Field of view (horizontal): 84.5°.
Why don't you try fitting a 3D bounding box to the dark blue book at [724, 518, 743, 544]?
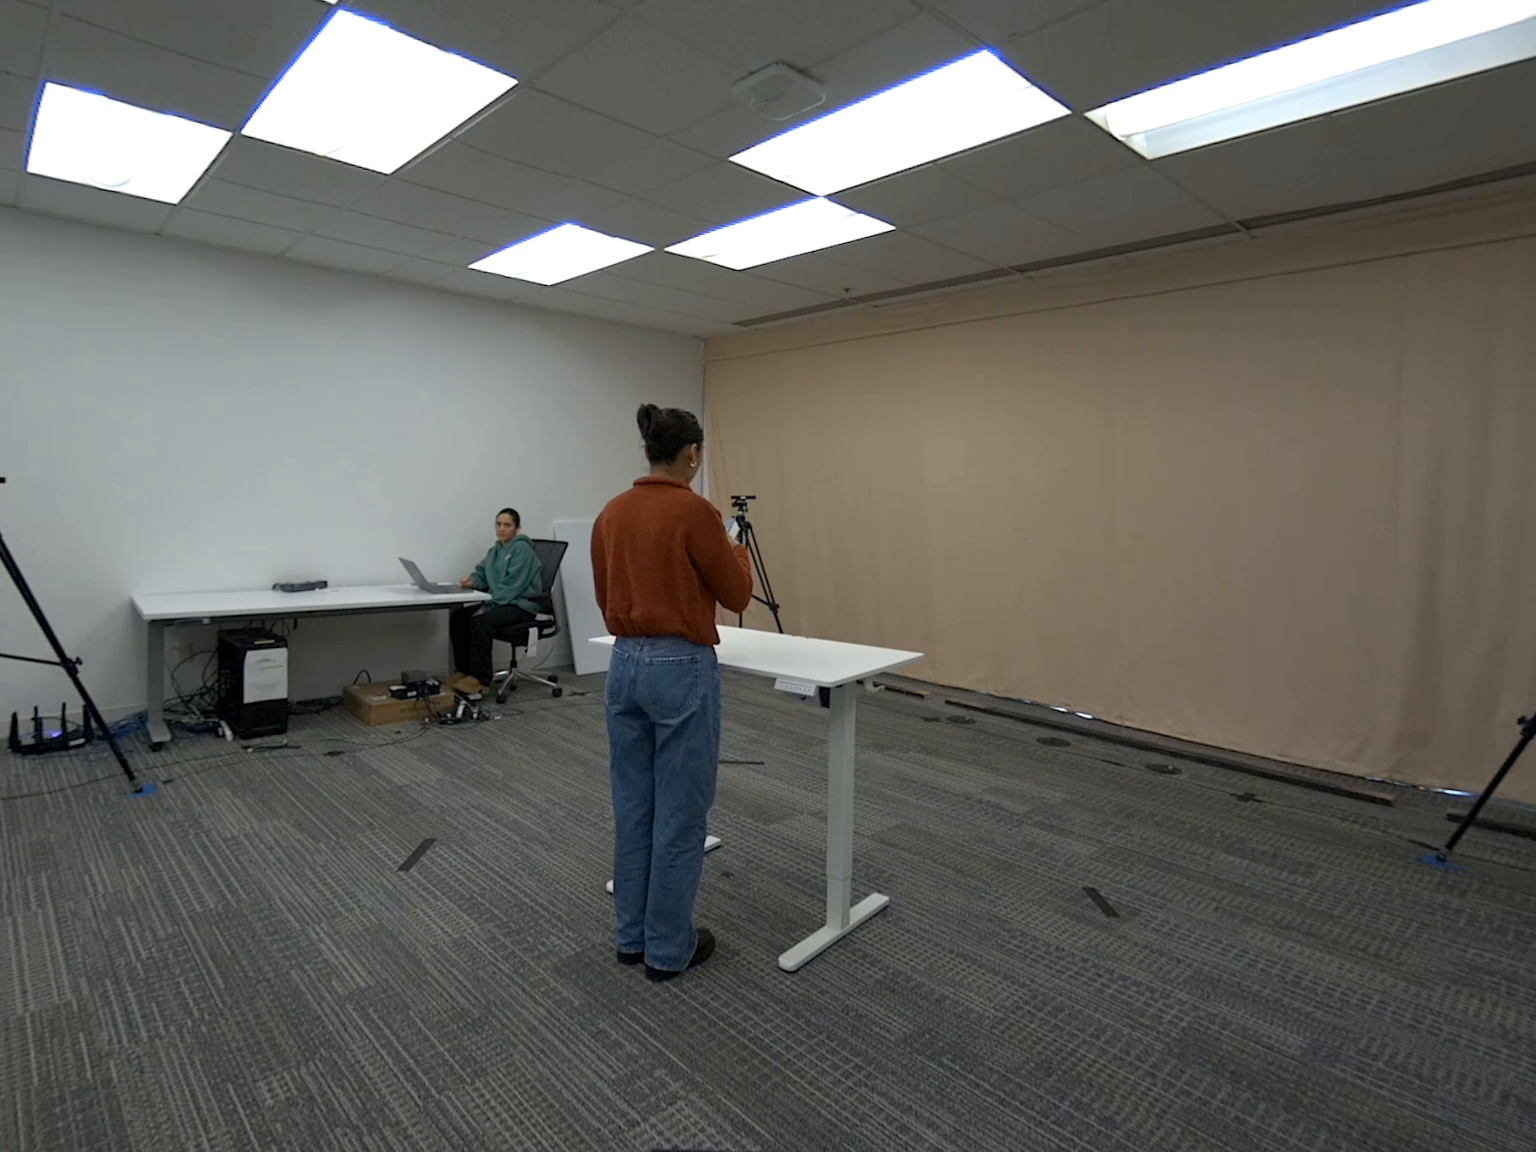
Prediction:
[{"bbox_3d":[-0.201,-0.092,2.754,0.165,0.044,0.247,-18,25,24],"label":"dark blue book"}]
